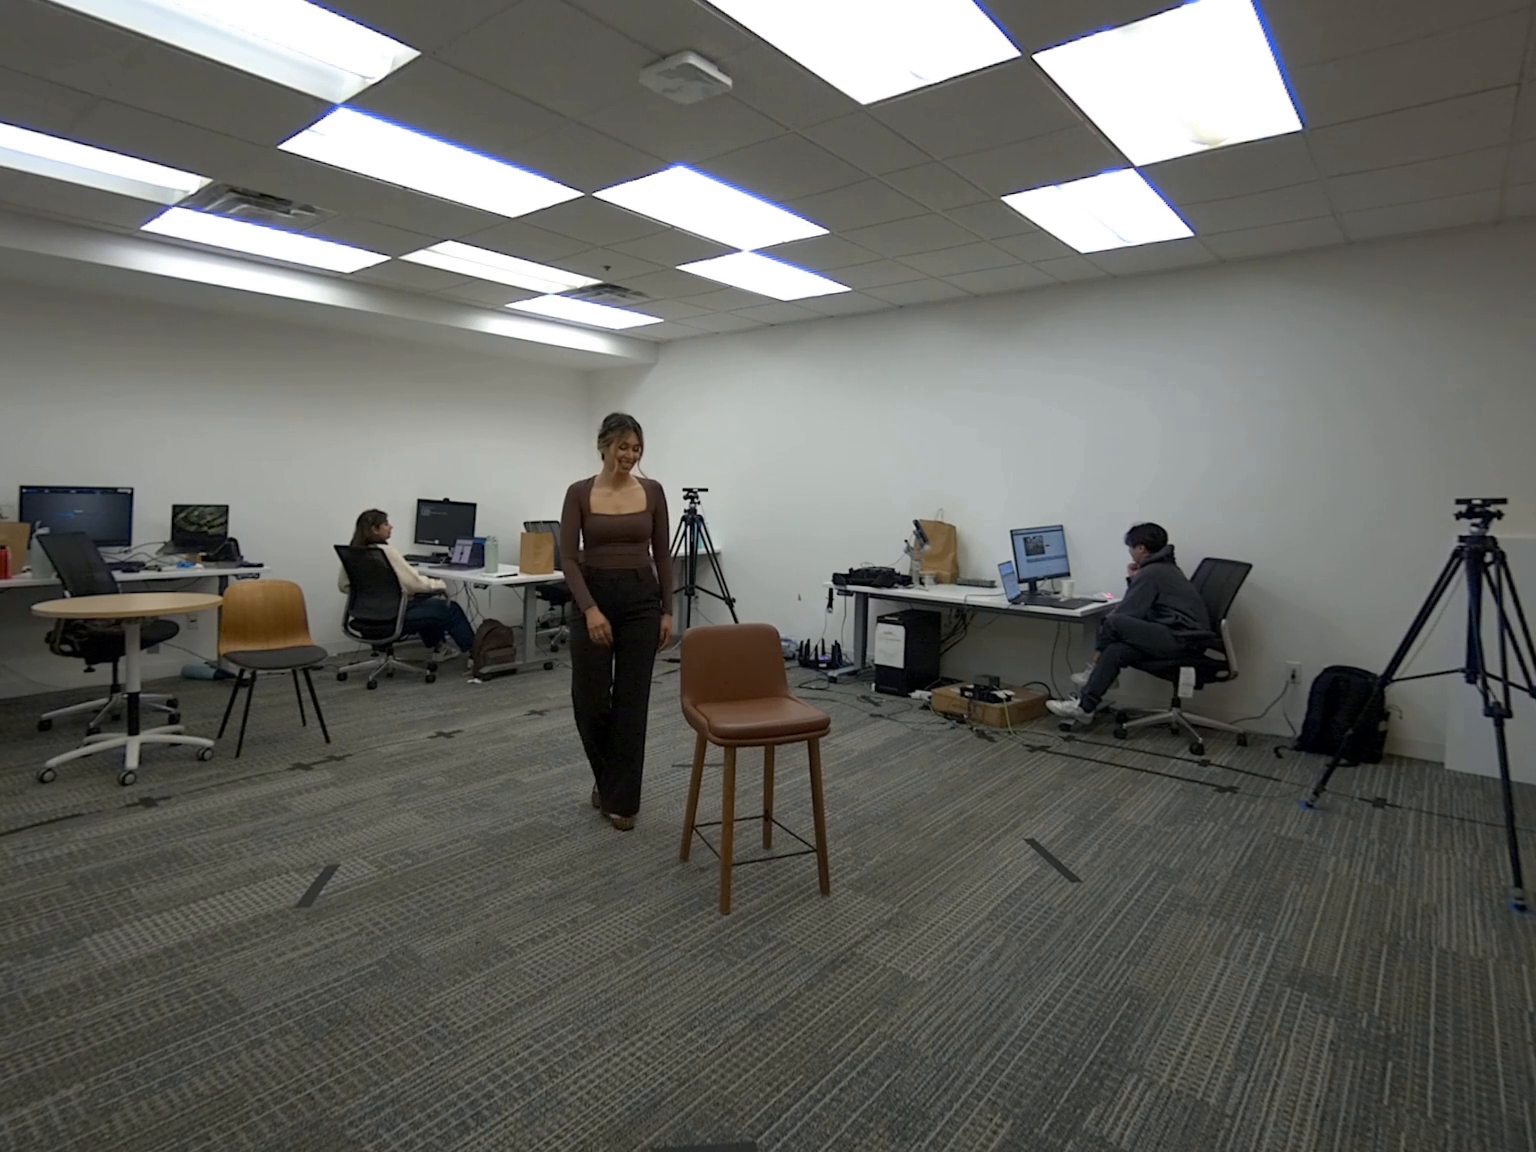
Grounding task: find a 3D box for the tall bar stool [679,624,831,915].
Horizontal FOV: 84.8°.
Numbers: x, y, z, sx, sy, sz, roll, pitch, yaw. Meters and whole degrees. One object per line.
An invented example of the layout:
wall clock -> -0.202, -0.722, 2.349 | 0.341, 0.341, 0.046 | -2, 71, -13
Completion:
tall bar stool -> -0.064, 0.644, 3.039 | 0.446, 0.888, 0.480 | 0, 2, -26
